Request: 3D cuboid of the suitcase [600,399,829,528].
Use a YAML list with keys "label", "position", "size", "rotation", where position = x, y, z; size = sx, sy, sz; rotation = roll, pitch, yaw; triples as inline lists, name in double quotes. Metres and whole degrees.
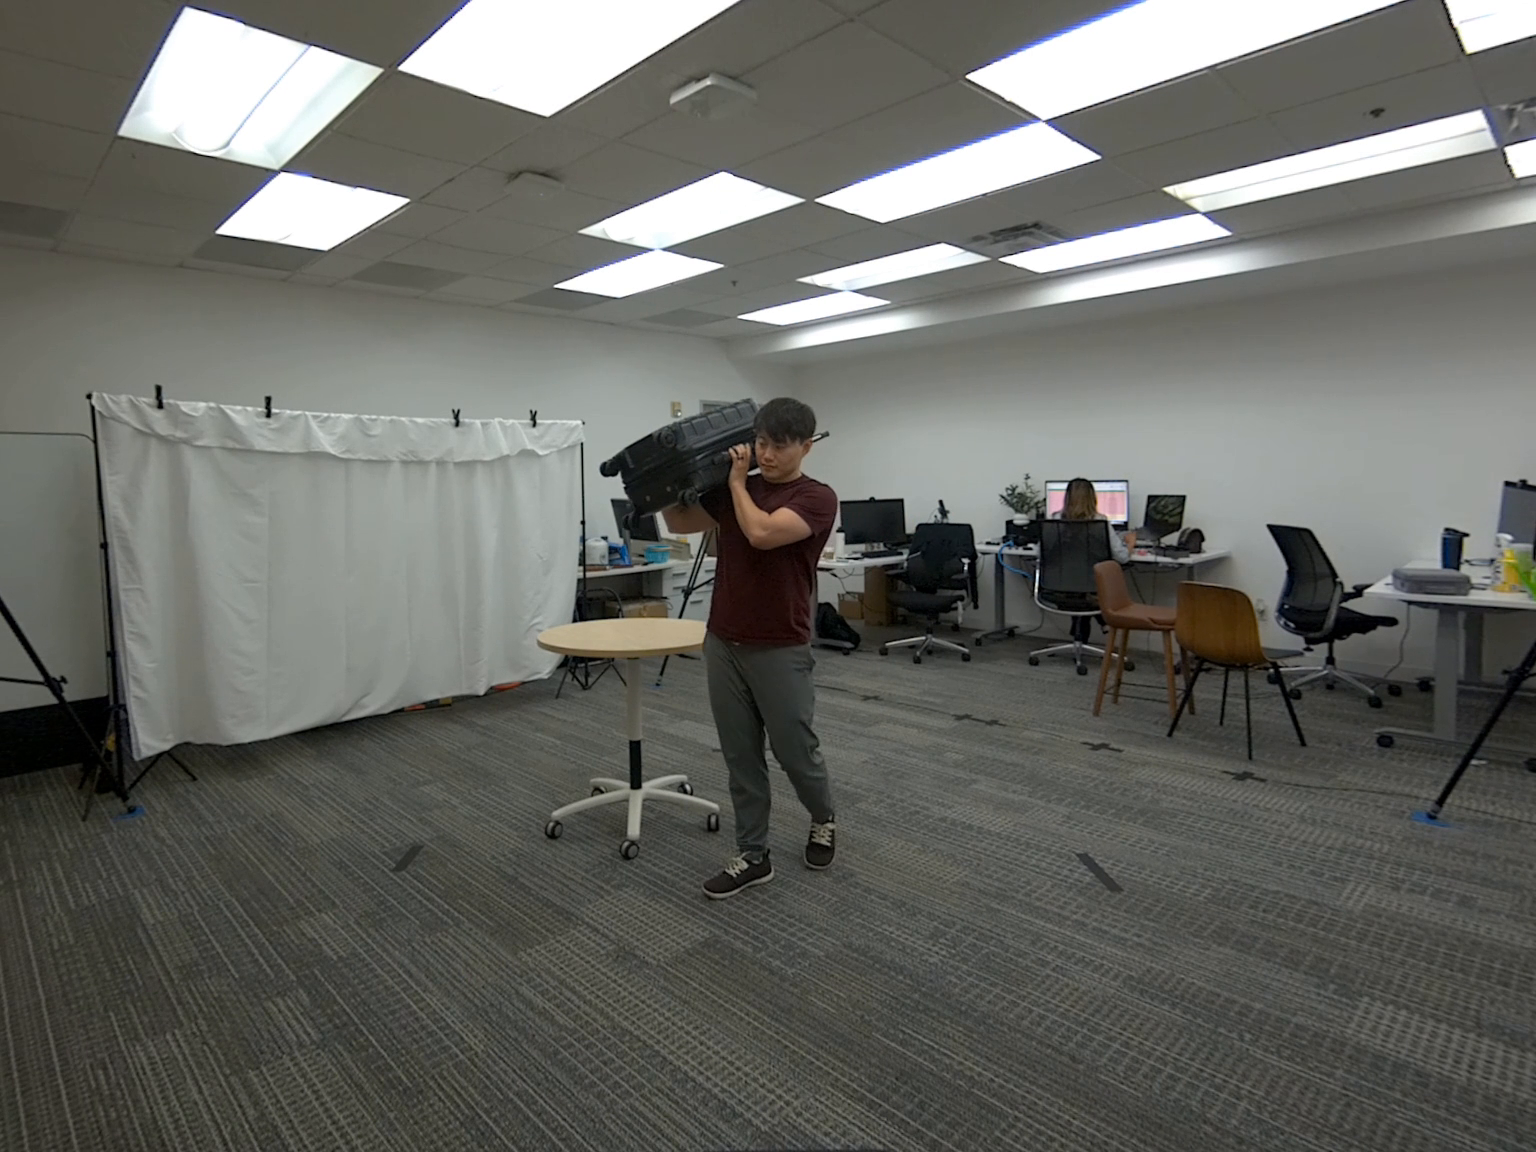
- label: "suitcase"
  position: [-0.137, -0.489, 3.098]
  size: [0.390, 0.255, 0.969]
  rotation: [-20, 10, 42]
